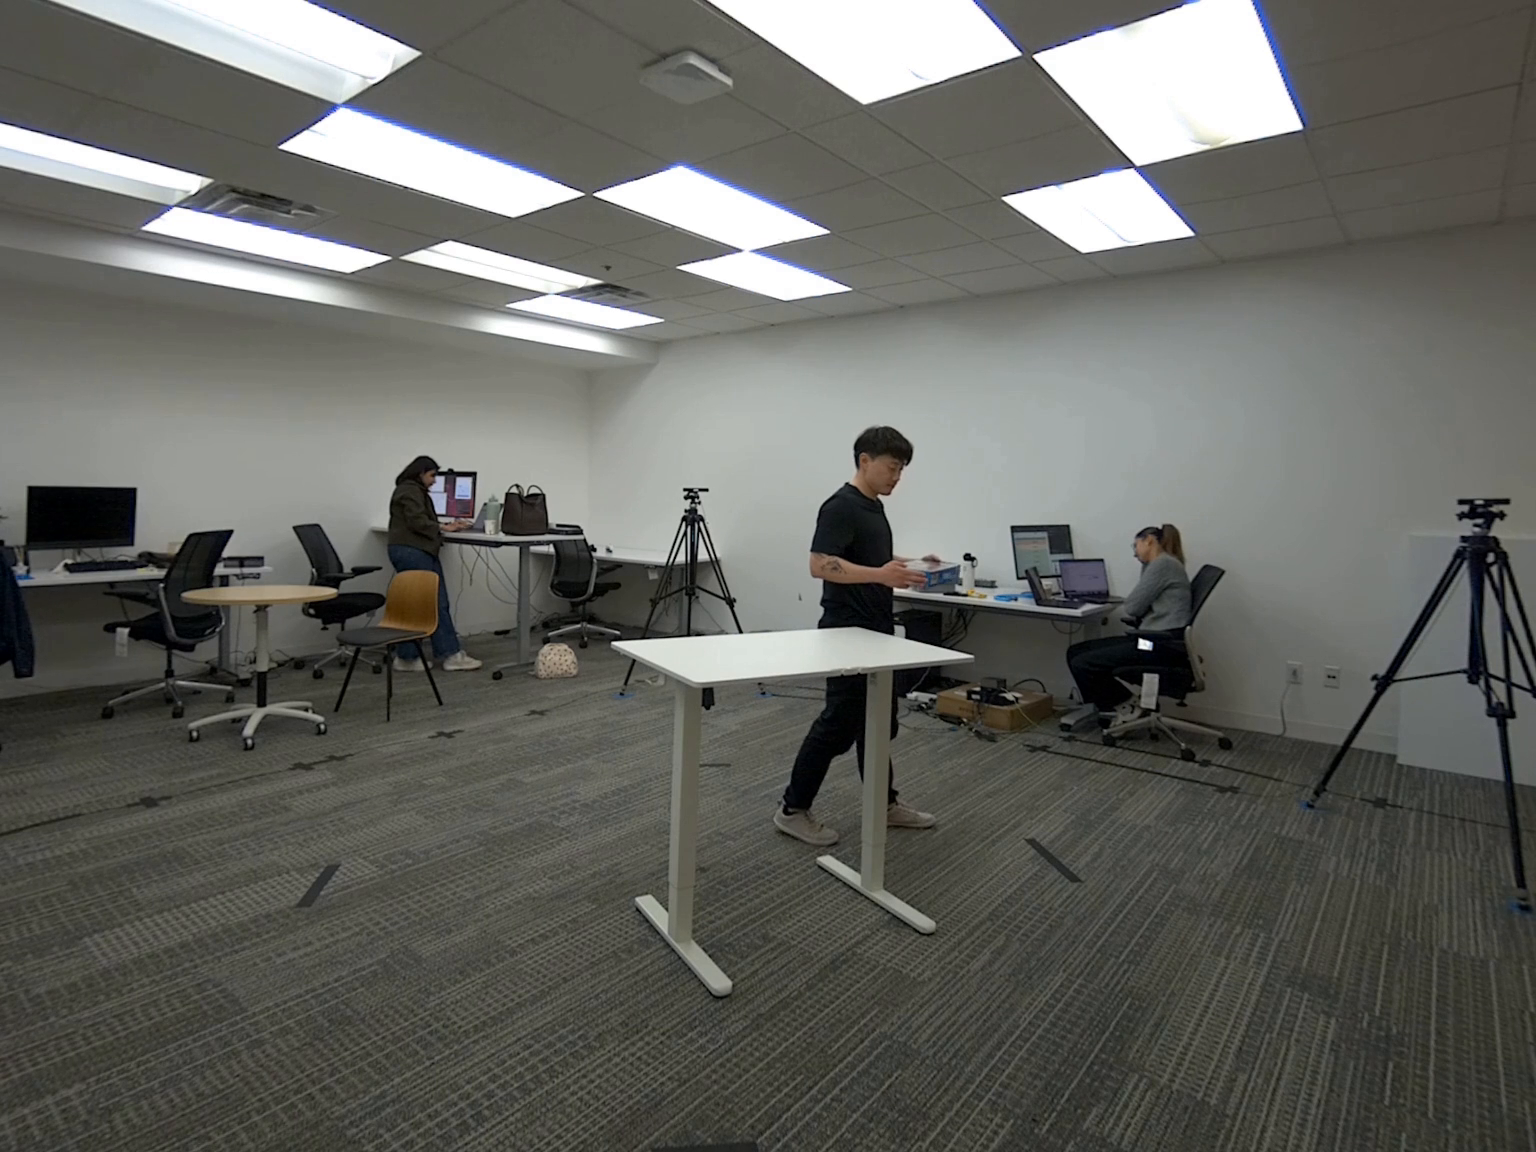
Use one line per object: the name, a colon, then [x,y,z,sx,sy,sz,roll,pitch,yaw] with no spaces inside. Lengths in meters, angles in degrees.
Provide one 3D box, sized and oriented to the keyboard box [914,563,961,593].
keyboard box: [0.602,-0.021,3.341,0.182,0.058,0.426,9,12,32]
